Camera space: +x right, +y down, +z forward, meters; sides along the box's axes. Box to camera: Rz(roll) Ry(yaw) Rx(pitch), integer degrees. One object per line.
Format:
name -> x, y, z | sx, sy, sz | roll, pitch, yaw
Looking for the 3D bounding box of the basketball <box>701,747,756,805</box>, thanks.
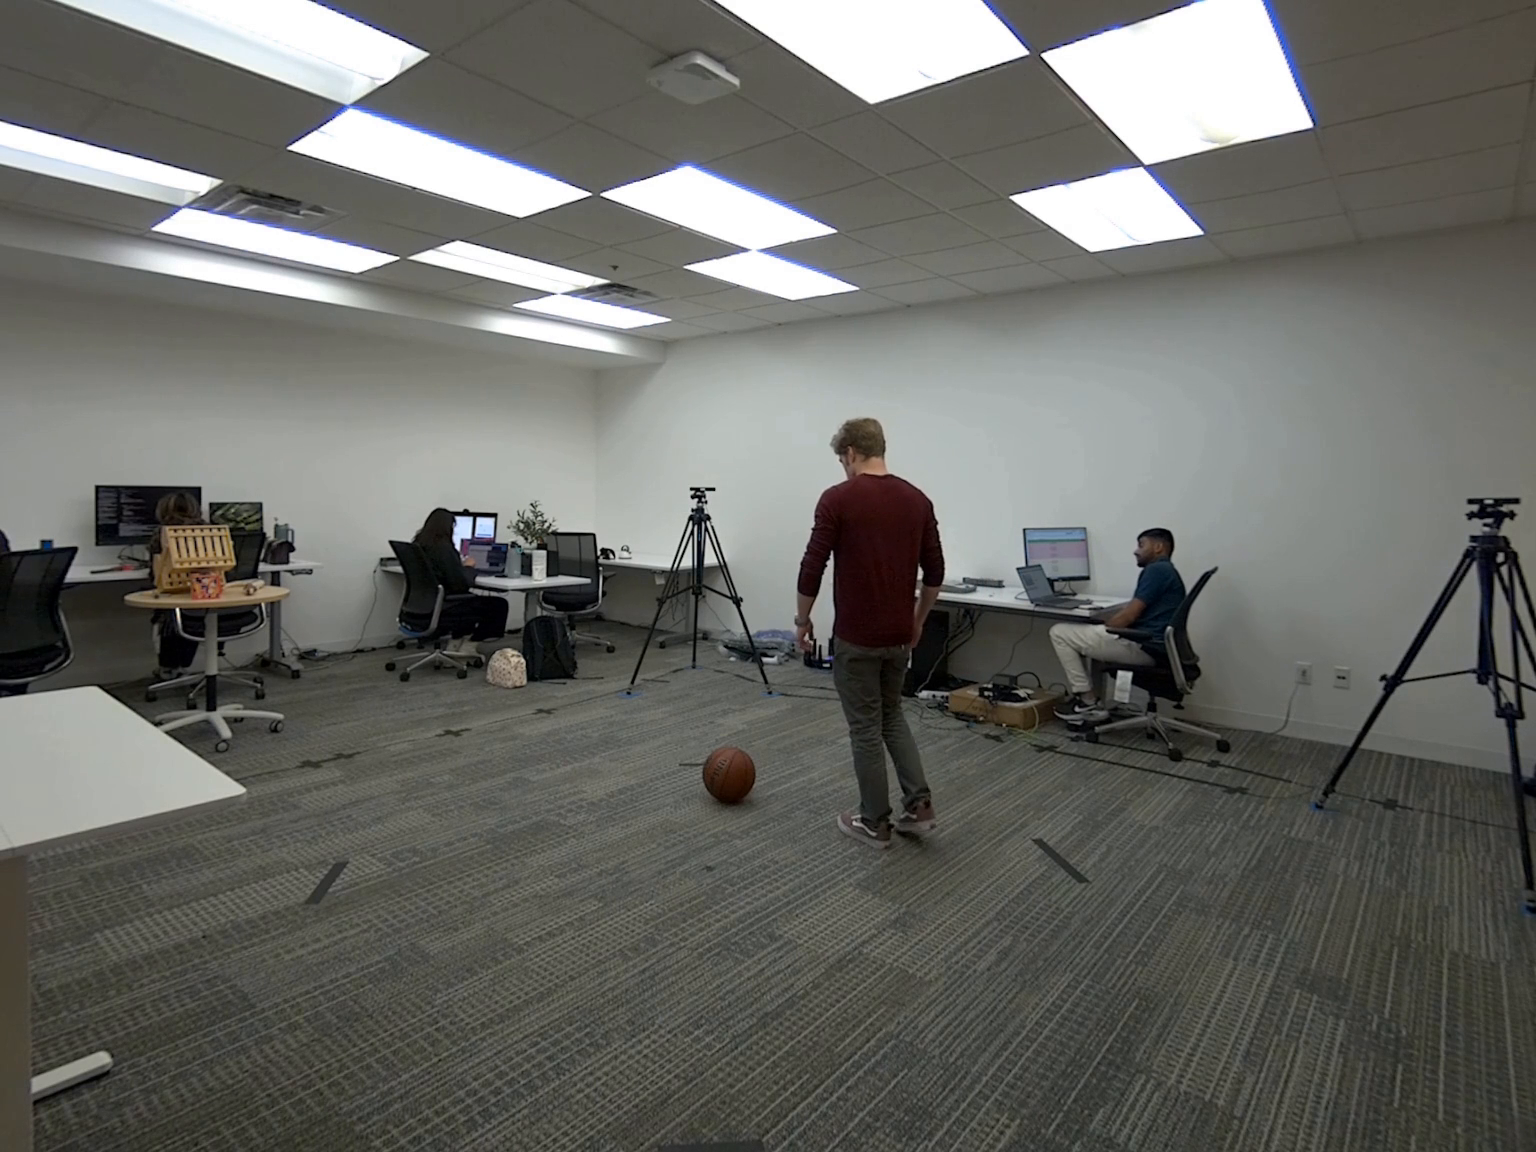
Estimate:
basketball -> -0.182, 0.876, 3.798 | 0.235, 0.235, 0.237 | 1, 4, -2
